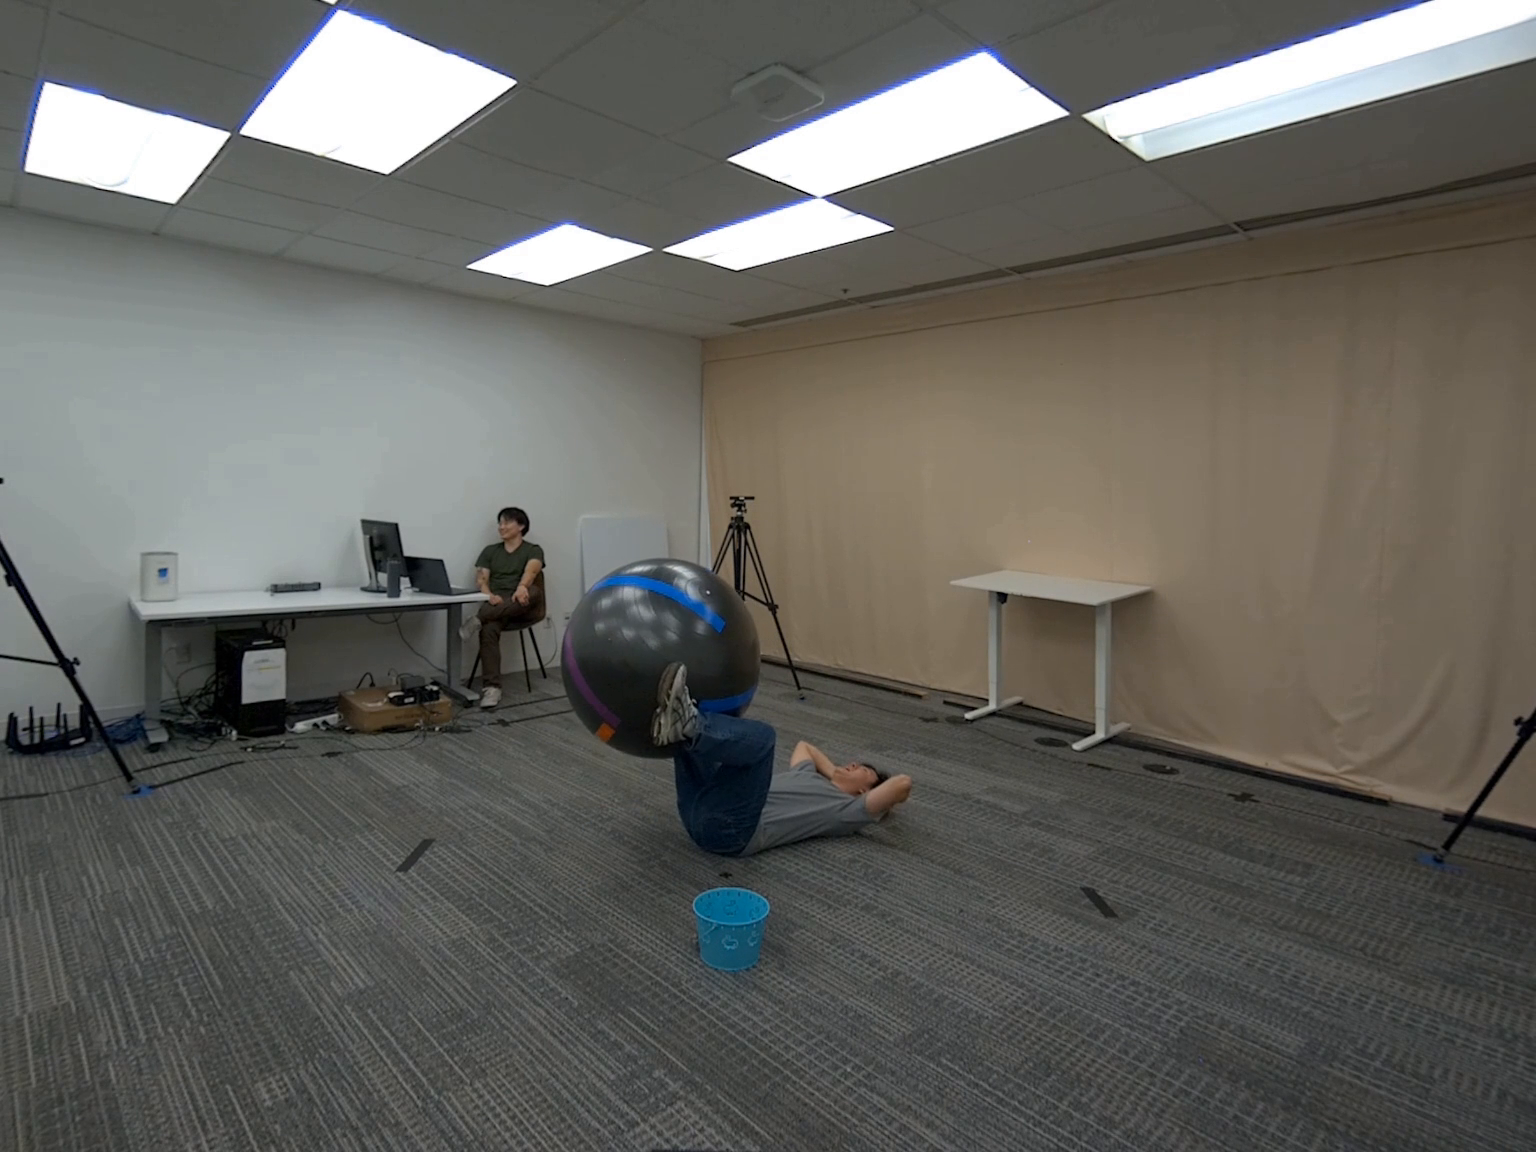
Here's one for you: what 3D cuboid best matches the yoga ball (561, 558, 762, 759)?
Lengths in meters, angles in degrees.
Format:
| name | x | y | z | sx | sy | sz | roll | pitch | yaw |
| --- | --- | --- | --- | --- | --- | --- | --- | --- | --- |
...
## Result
| name | x | y | z | sx | sy | sz | roll | pitch | yaw |
| --- | --- | --- | --- | --- | --- | --- | --- | --- | --- |
| yoga ball | -0.406 | 0.311 | 3.219 | 0.757 | 0.756 | 0.761 | 1 | 4 | -1 |
